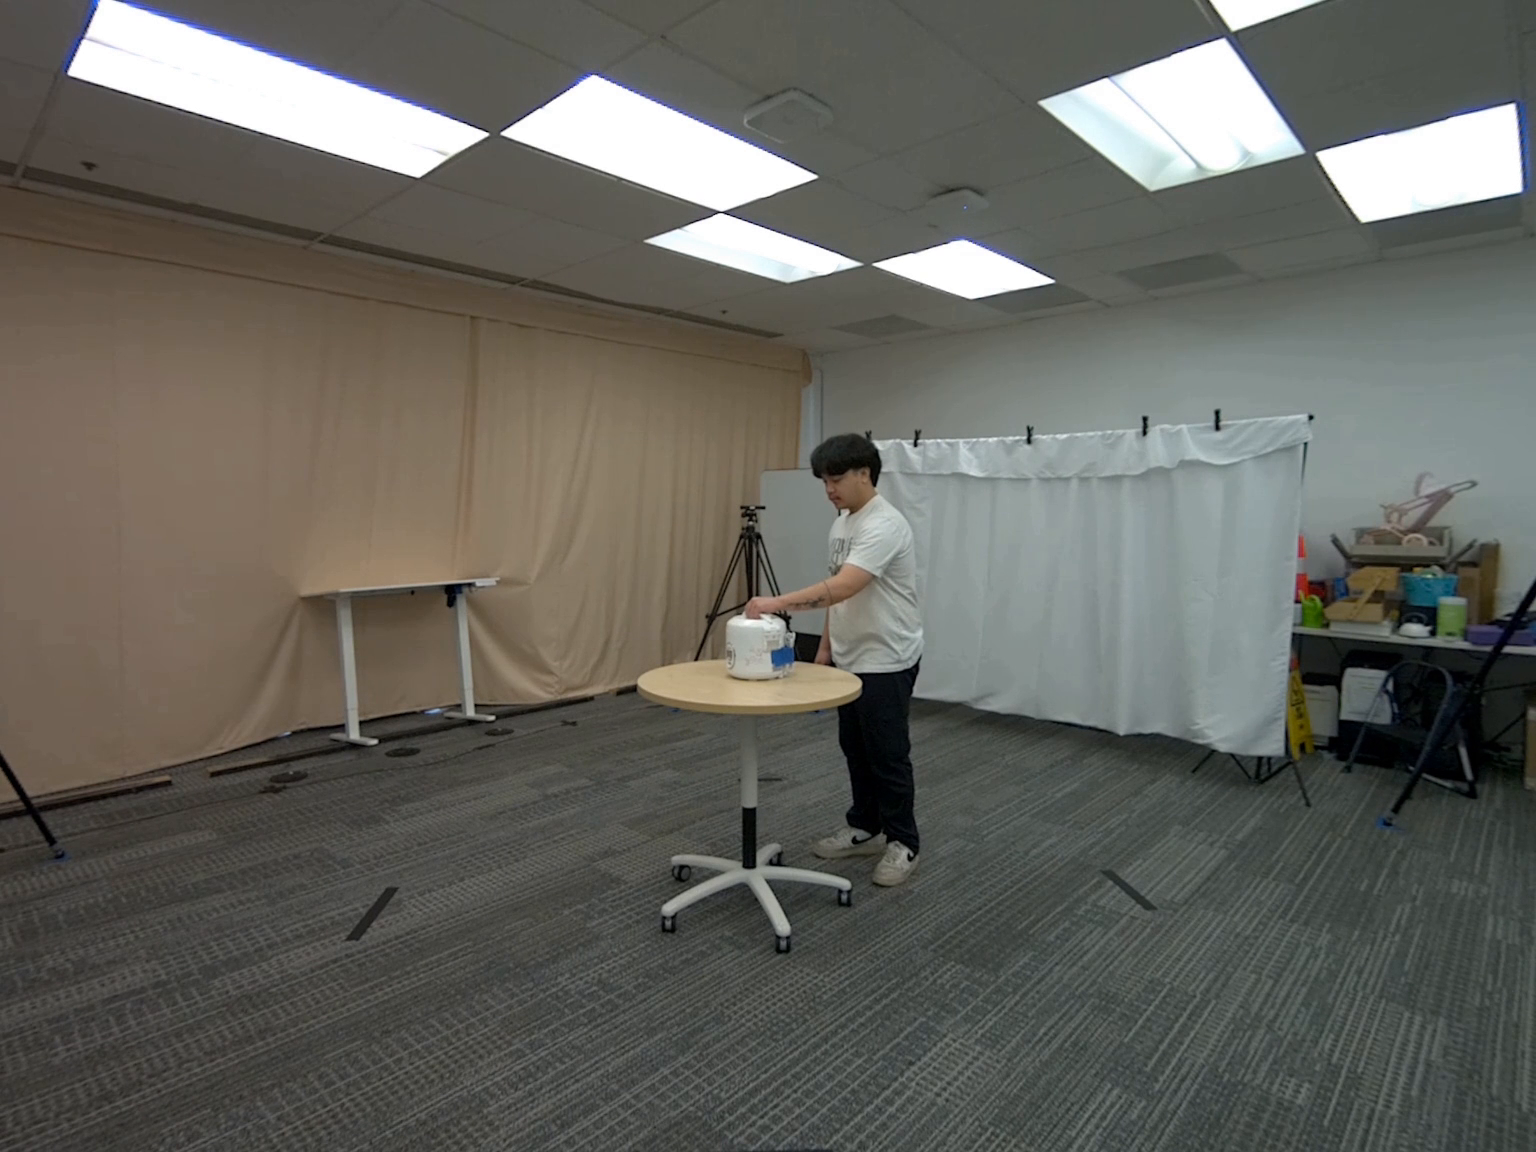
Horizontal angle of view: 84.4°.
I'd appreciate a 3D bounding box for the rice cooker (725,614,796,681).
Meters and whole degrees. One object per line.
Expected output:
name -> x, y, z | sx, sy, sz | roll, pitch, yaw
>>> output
rice cooker -> -0.042, 0.234, 2.935 | 0.211, 0.232, 0.227 | -1, 3, -31
